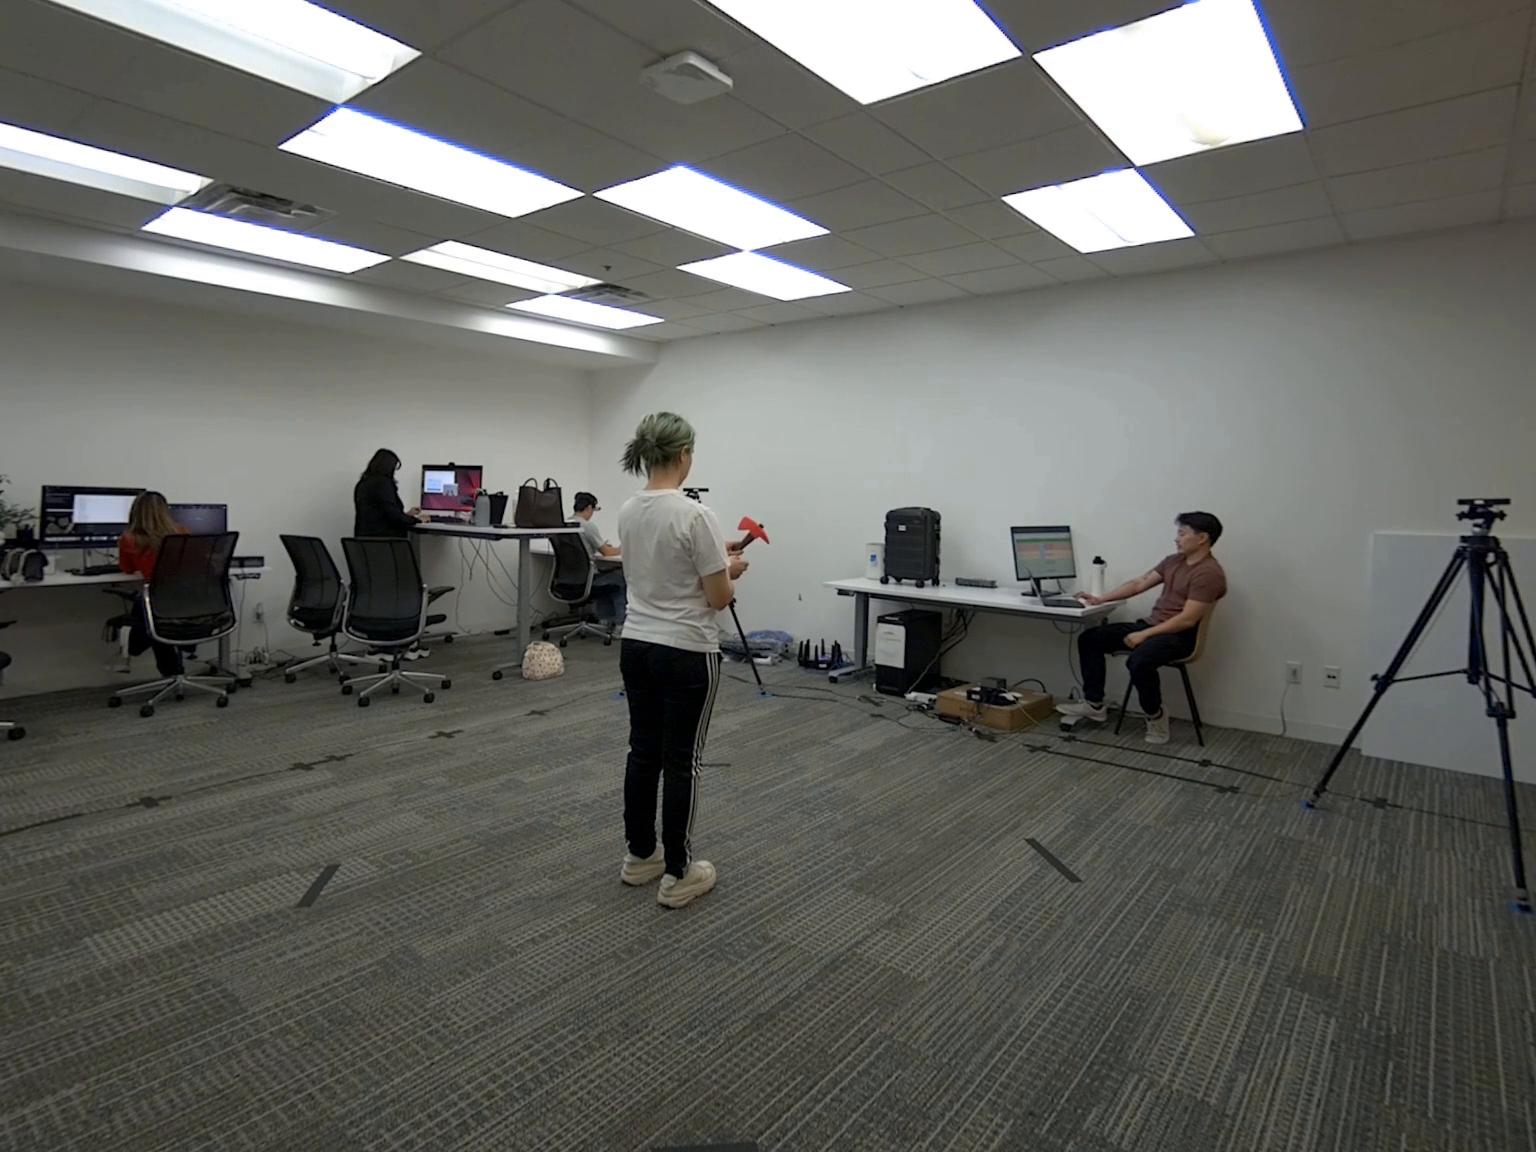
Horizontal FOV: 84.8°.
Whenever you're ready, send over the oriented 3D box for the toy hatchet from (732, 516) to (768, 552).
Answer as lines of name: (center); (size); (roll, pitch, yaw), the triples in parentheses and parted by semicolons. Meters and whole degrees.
toy hatchet: (-0.153, -0.137, 3.198); (0.273, 0.130, 0.029); (-20, 3, 17)
